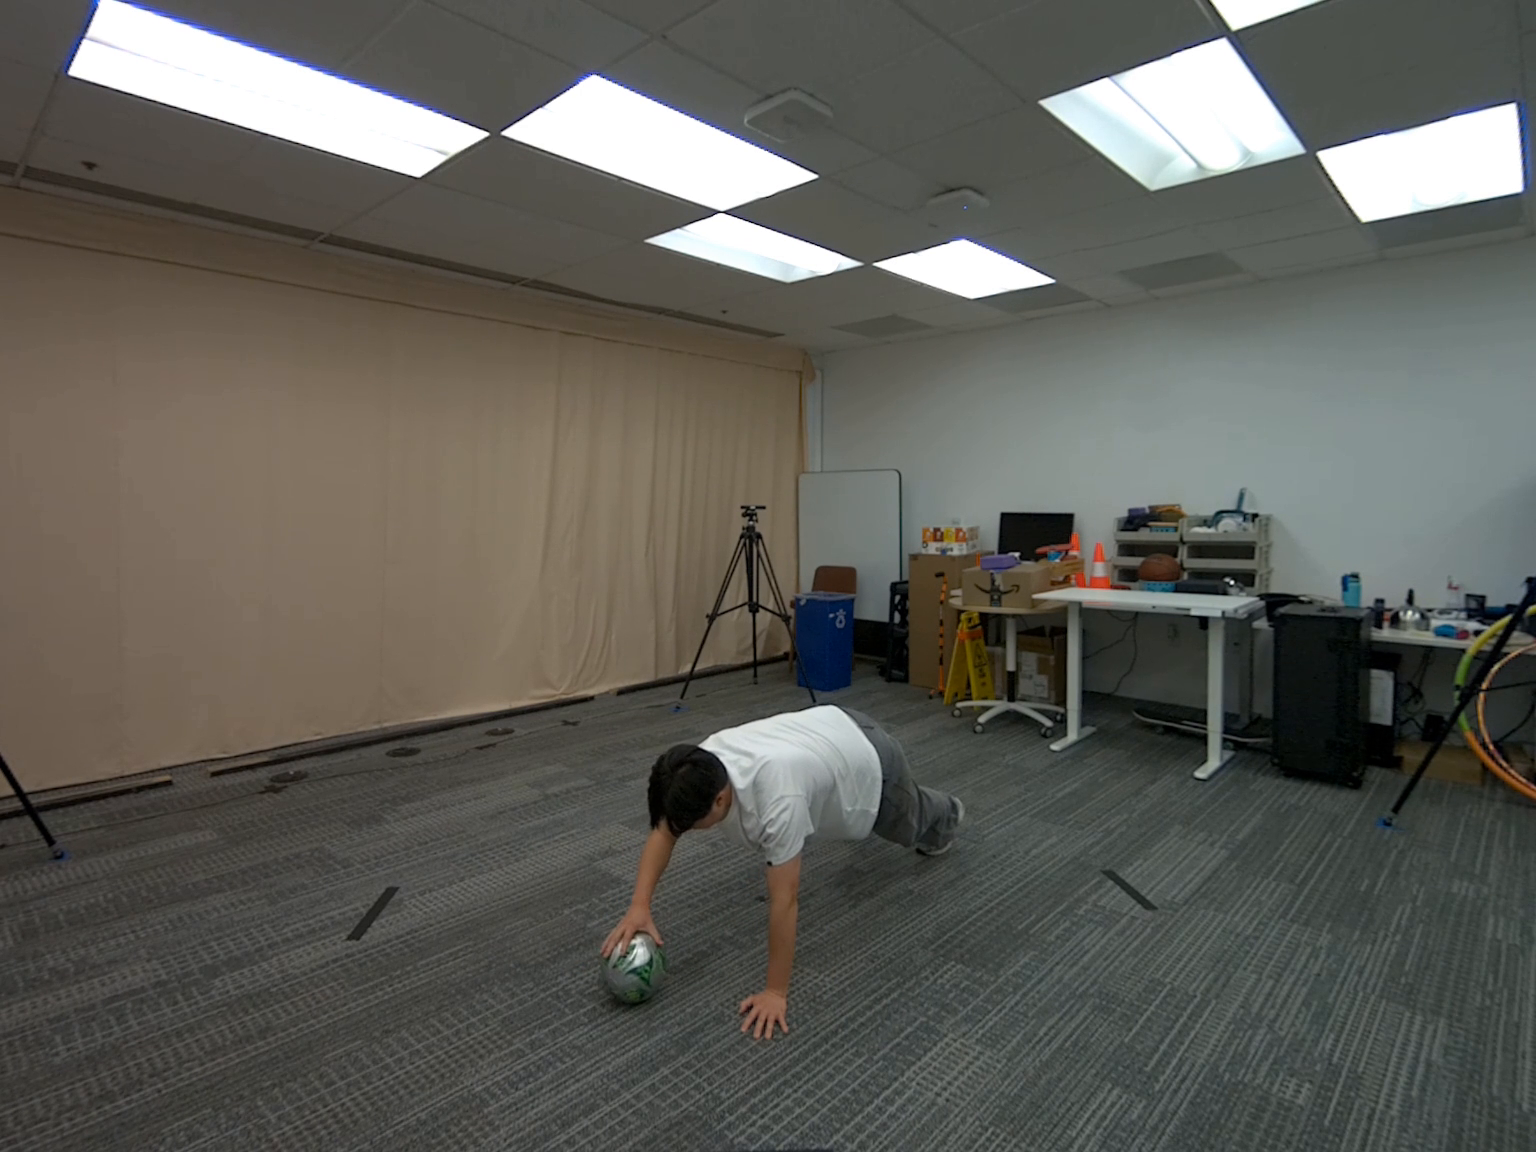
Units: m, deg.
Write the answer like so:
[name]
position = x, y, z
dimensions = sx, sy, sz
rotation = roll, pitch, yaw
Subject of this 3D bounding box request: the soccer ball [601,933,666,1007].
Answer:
[soccer ball]
position = -0.379, 1.103, 2.390
dimensions = 0.187, 0.187, 0.188
rotation = 0, 4, -2
